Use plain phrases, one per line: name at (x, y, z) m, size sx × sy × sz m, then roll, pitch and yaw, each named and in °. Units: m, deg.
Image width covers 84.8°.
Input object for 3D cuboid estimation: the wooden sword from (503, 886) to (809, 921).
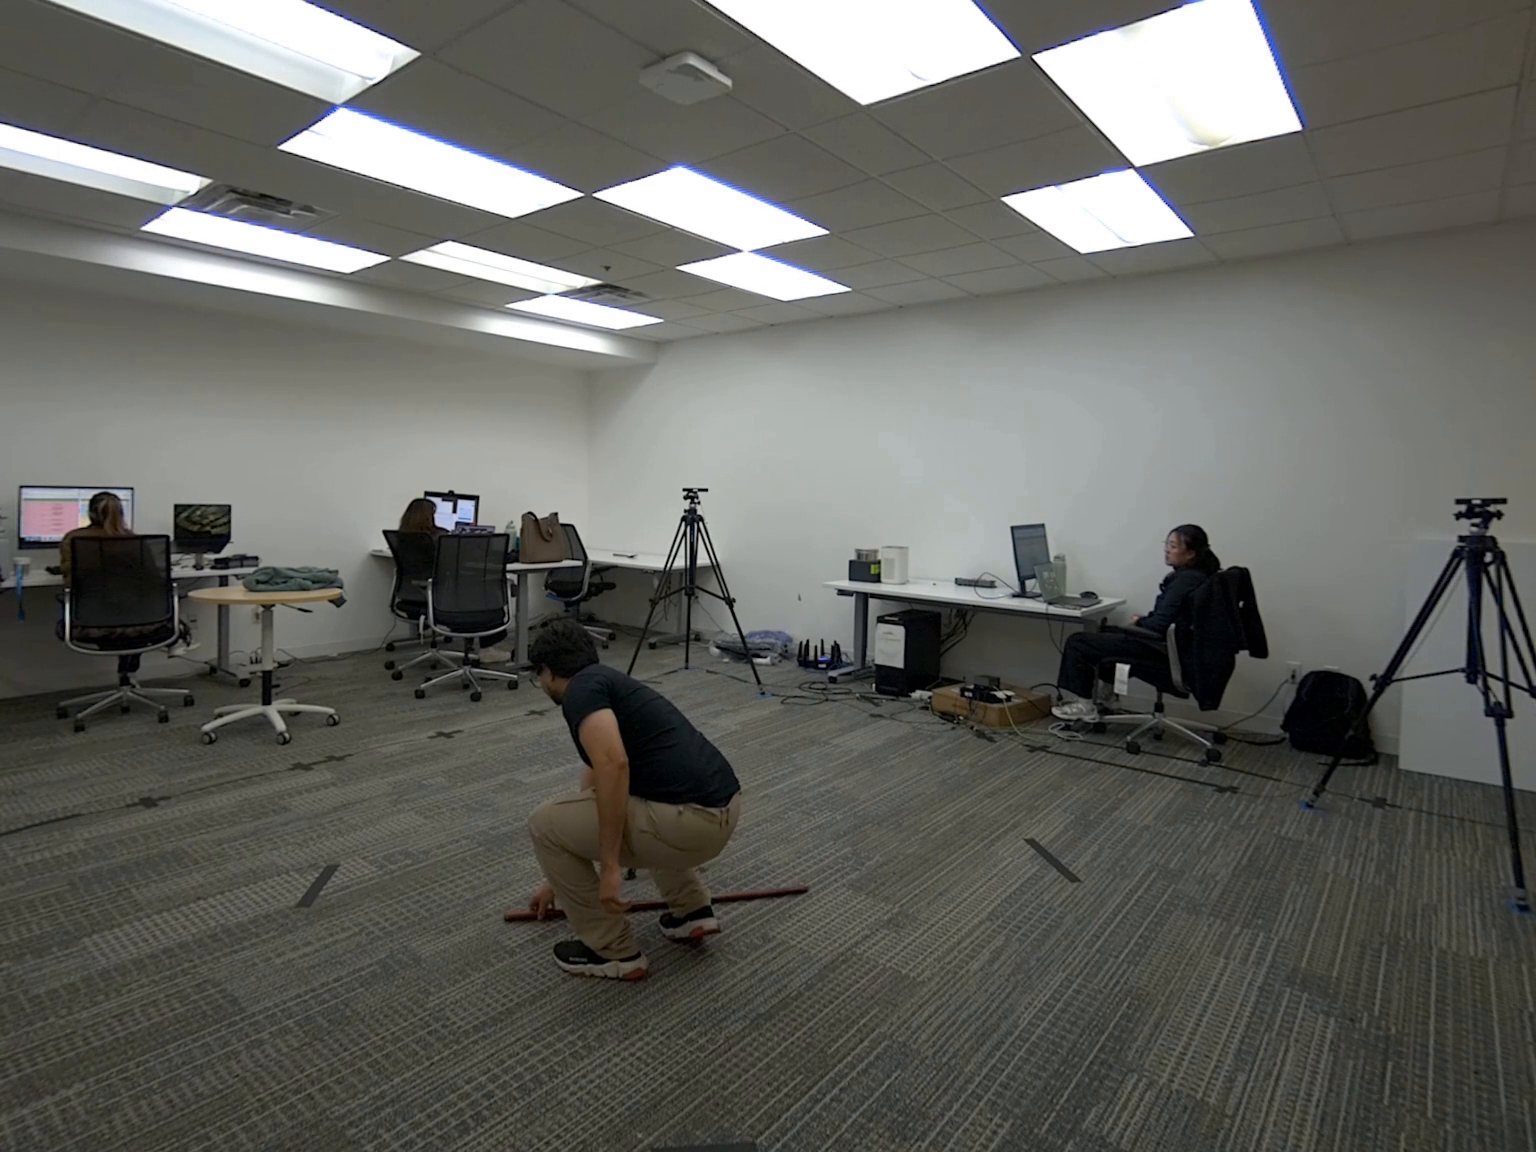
wooden sword at (-0.350, 1.066, 2.828) m, size 1.010 × 0.023 × 0.053 m, roll 1°, pitch 40°, yaw -13°
